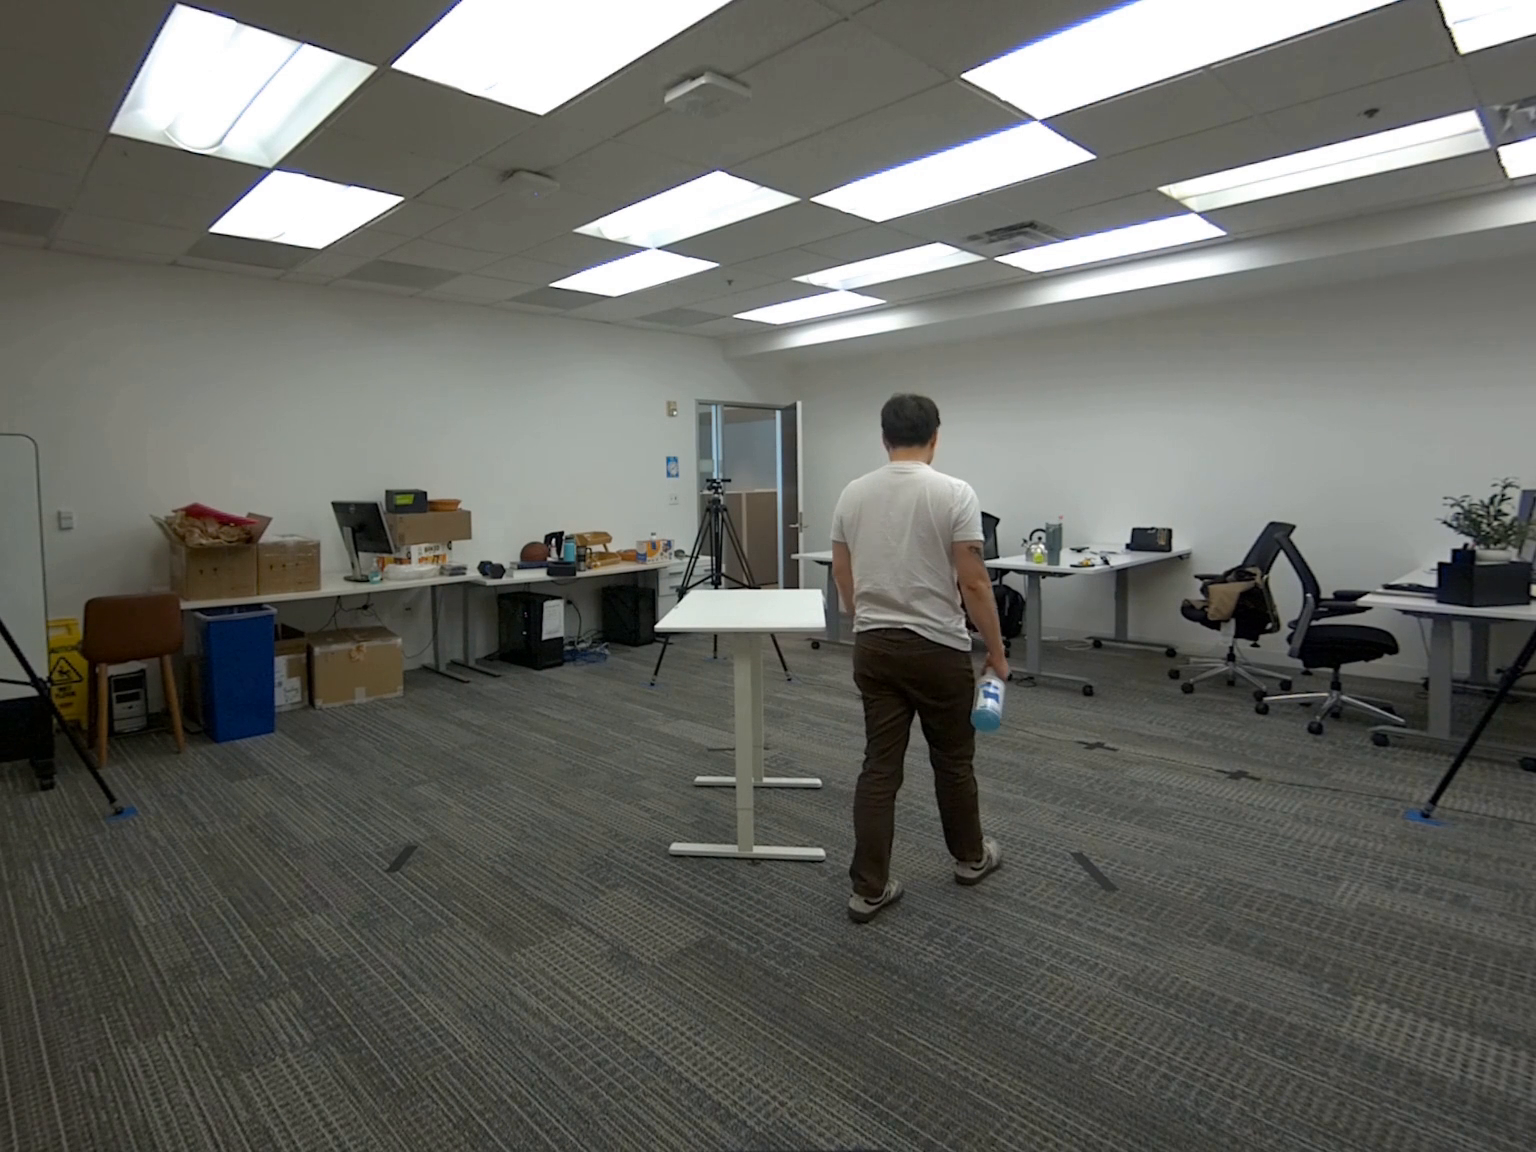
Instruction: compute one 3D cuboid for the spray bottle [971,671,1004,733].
[{"bbox_3d":[0.696,0.350,2.676,0.090,0.086,0.299,34,43,-3],"label":"spray bottle"}]
